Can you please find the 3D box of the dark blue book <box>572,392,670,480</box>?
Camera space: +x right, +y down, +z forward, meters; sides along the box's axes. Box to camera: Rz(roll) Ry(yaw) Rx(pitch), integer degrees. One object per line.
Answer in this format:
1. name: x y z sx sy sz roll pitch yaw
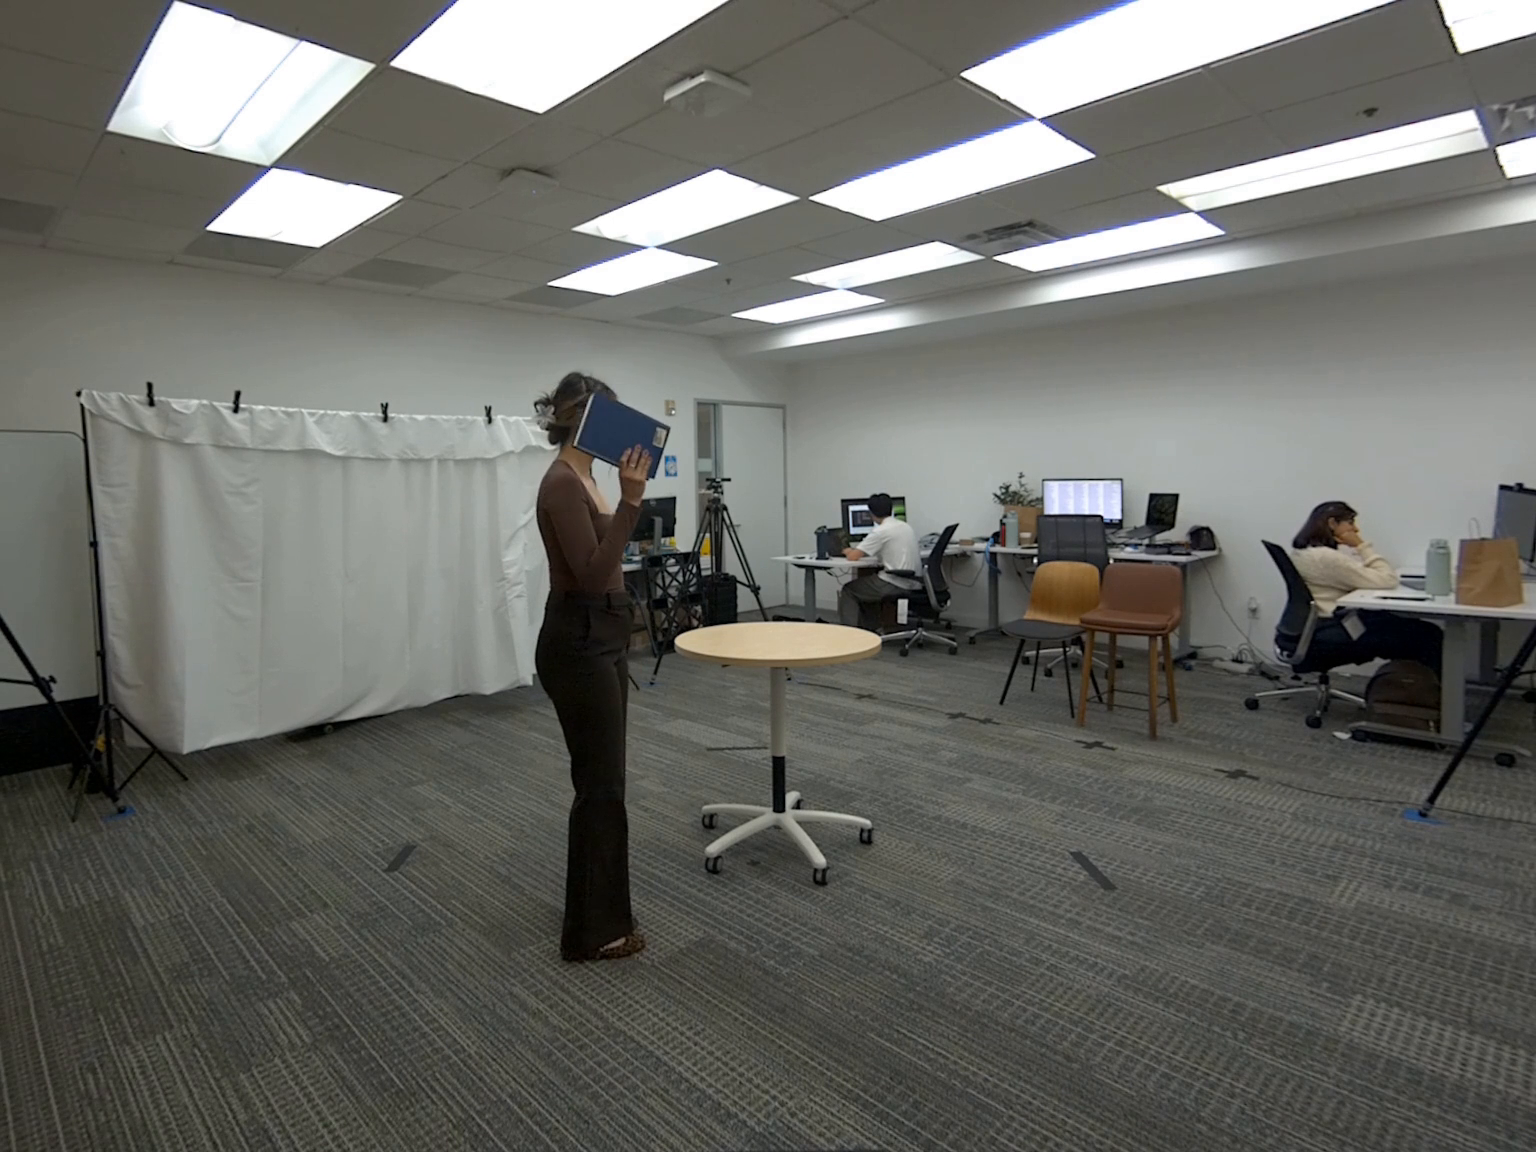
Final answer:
1. dark blue book: -0.403 -0.381 2.354 0.238 0.165 0.046 24 -17 -27
